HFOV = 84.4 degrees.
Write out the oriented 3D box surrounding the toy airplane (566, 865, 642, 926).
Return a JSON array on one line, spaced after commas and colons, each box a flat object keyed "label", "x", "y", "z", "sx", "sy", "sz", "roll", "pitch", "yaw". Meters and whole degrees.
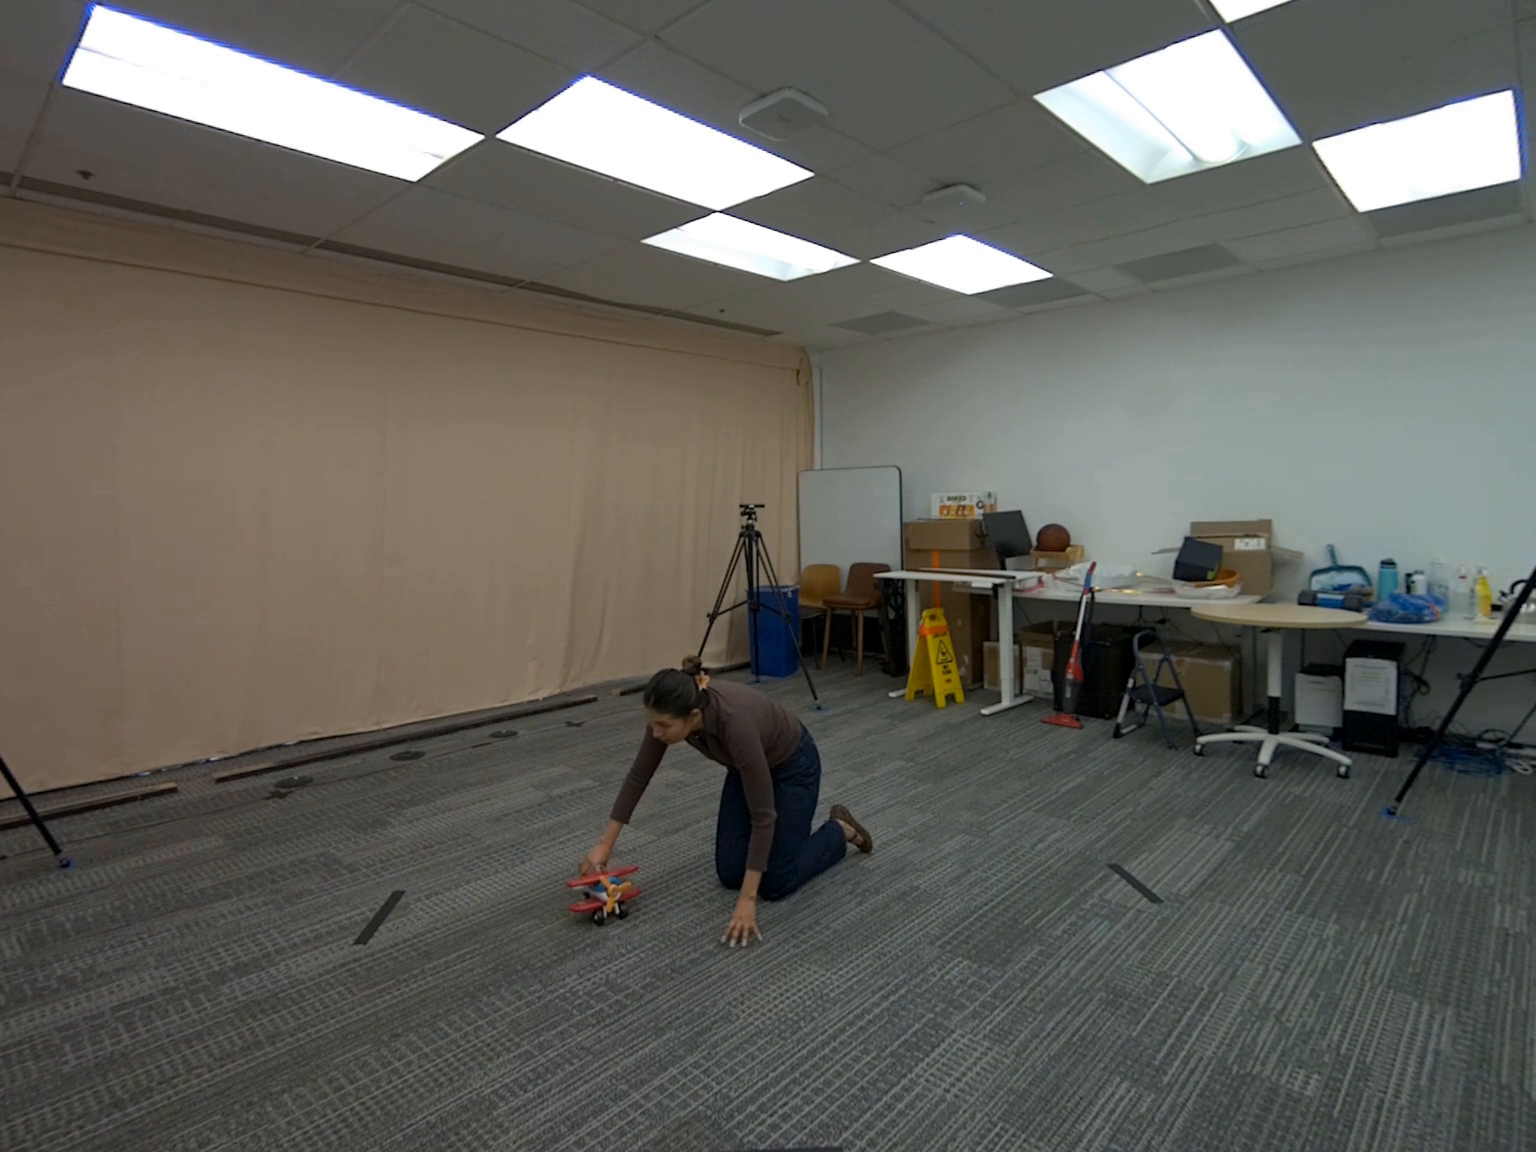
[{"label": "toy airplane", "x": -0.594, "y": 1.088, "z": 2.900, "sx": 0.267, "sy": 0.156, "sz": 0.245, "roll": 2, "pitch": 6, "yaw": 29}]
